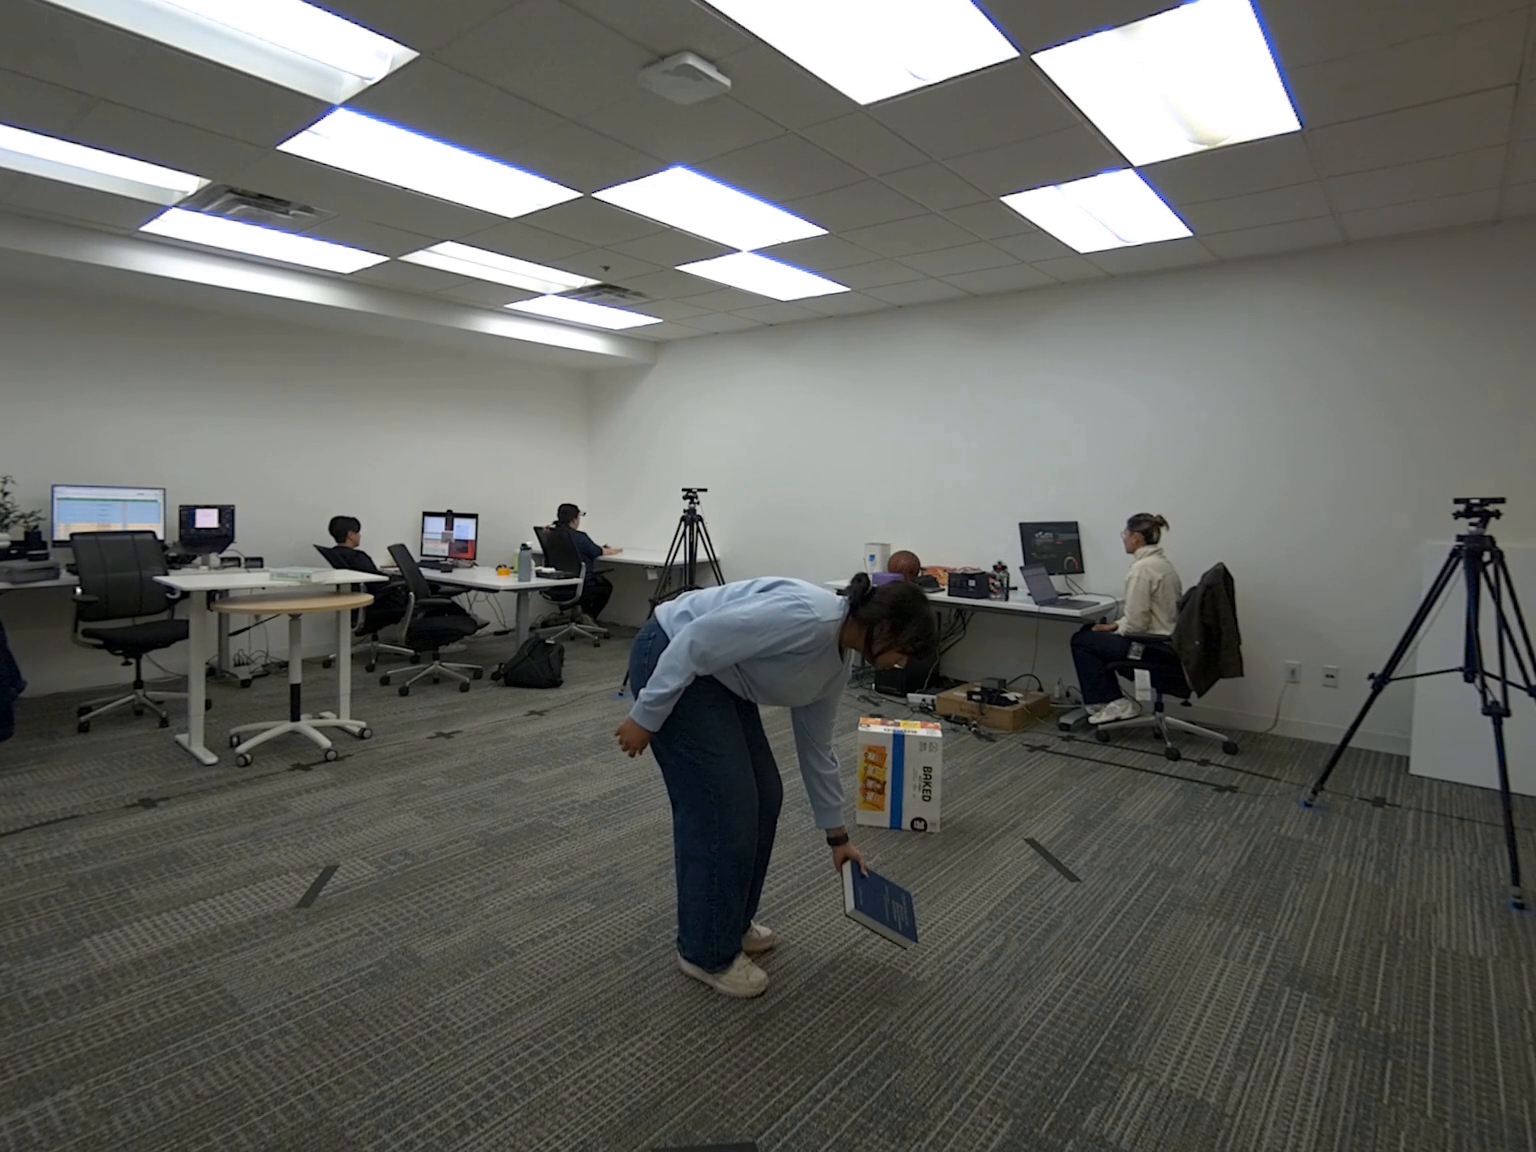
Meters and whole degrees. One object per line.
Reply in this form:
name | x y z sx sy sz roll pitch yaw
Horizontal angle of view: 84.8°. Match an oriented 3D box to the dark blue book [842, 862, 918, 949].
dark blue book | 0.316 0.936 2.435 0.239 0.045 0.167 34 29 -19
